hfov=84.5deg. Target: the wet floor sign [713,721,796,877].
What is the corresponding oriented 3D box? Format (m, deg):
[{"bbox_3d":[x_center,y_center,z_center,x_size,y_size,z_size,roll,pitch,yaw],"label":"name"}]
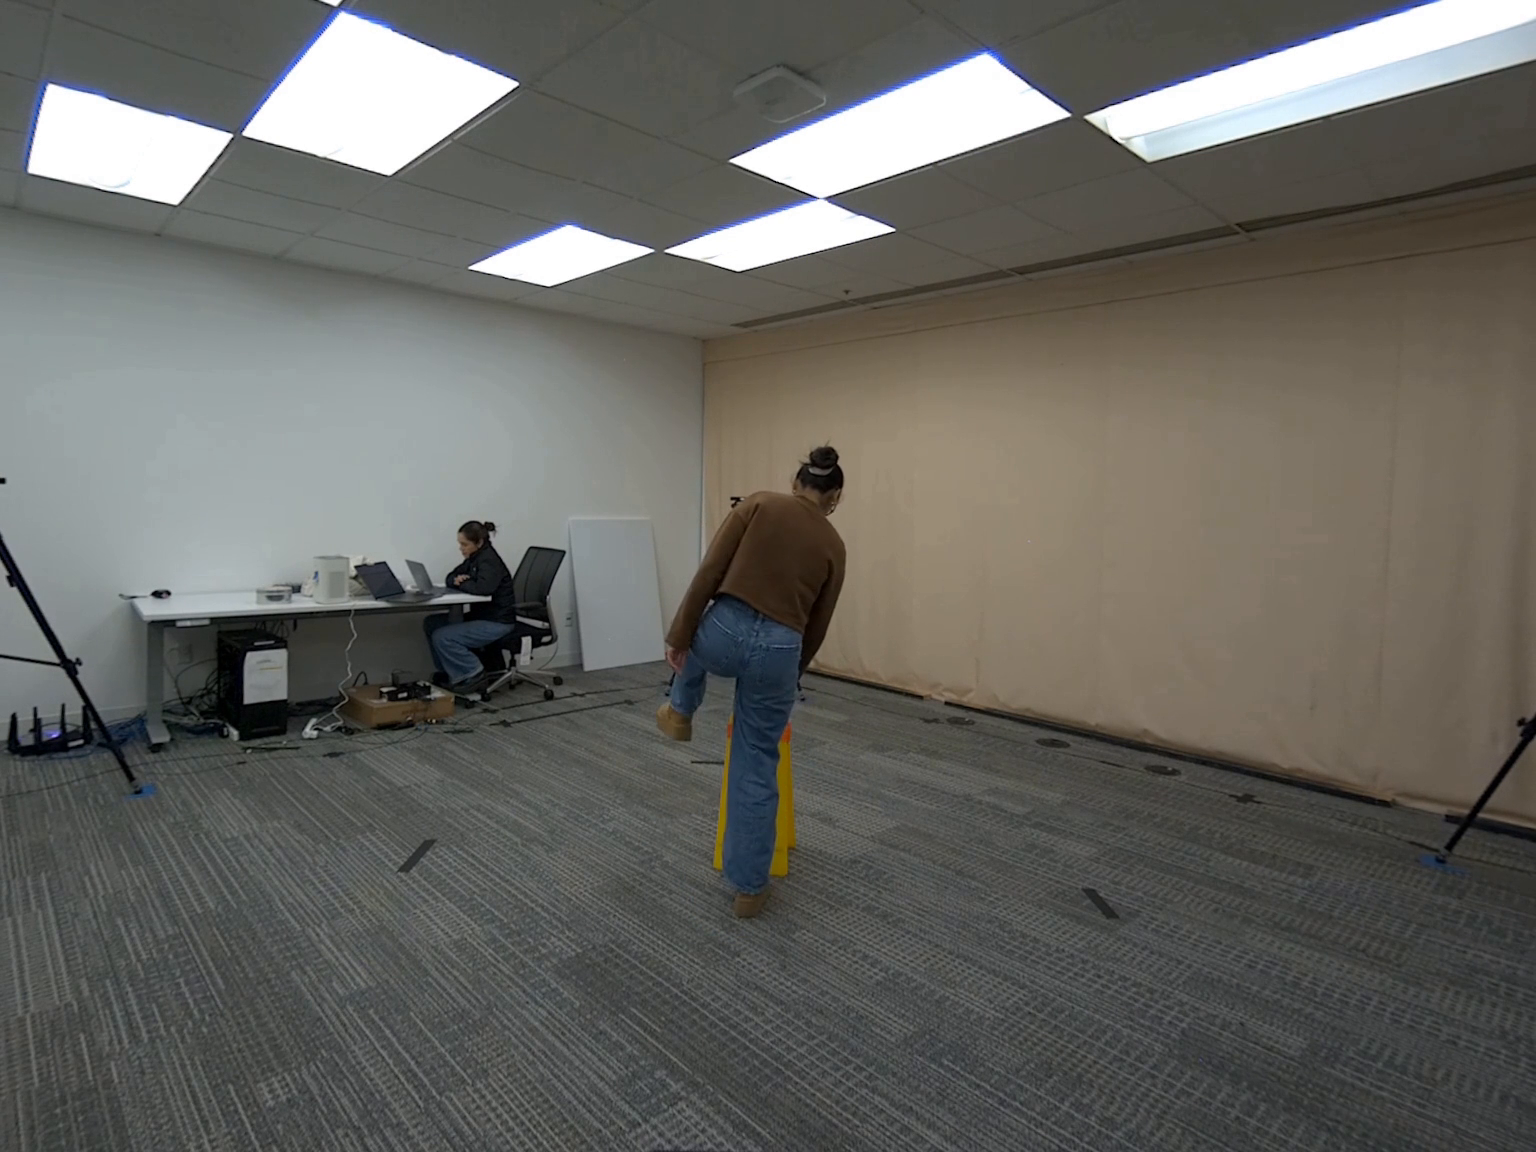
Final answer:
[{"bbox_3d":[-0.052,0.783,3.258,0.285,0.645,0.288,2,2,10],"label":"wet floor sign"}]
